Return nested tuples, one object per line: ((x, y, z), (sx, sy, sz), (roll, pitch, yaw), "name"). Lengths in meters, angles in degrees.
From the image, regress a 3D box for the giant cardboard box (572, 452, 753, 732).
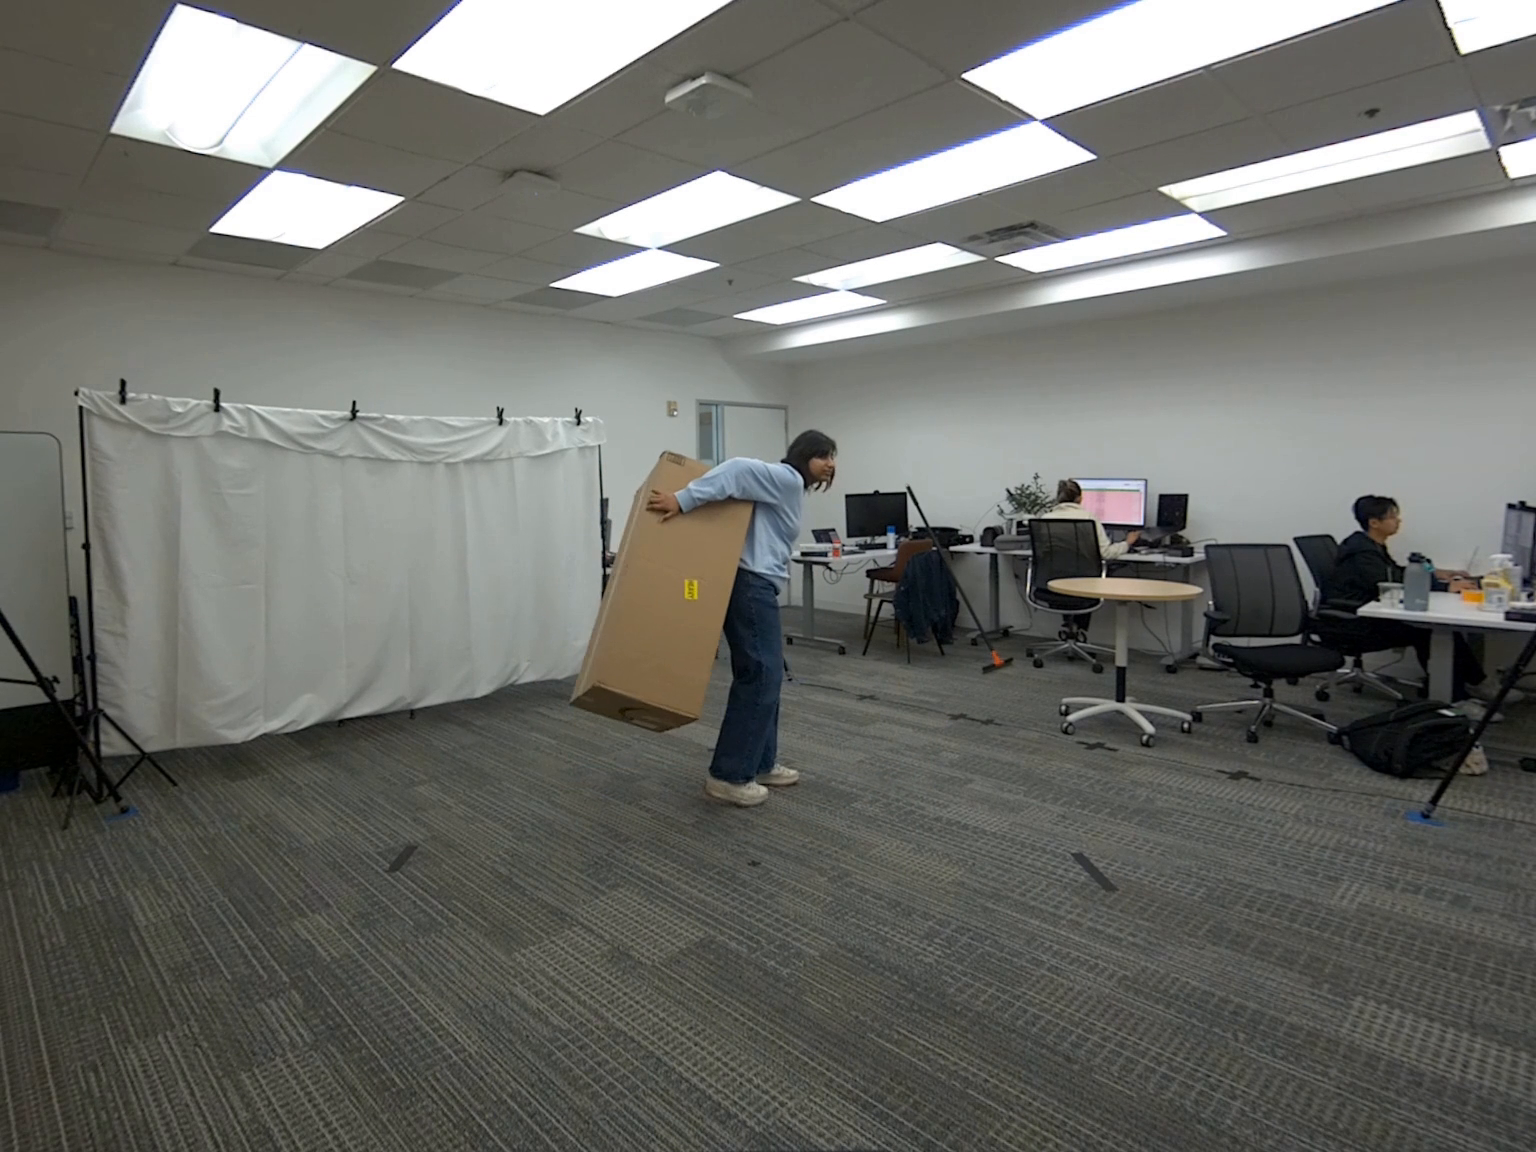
((-0.442, 0.090, 3.625), (0.419, 1.040, 0.579), (20, -23, -15), "giant cardboard box")
